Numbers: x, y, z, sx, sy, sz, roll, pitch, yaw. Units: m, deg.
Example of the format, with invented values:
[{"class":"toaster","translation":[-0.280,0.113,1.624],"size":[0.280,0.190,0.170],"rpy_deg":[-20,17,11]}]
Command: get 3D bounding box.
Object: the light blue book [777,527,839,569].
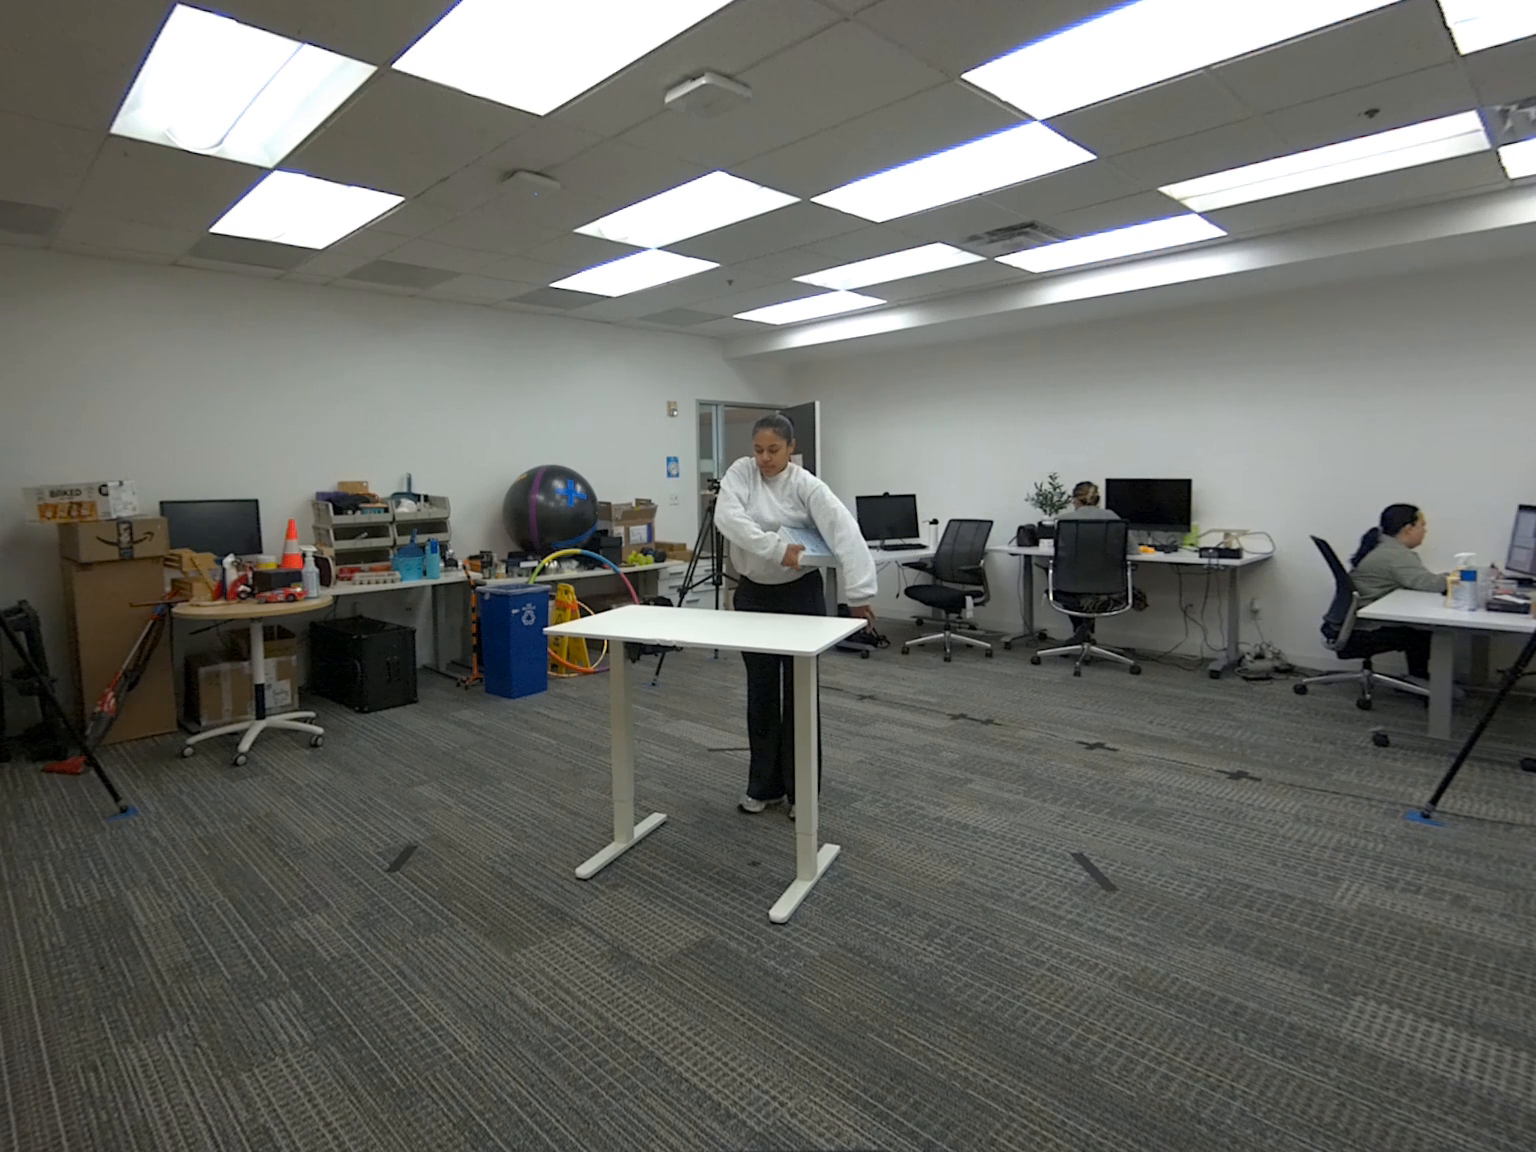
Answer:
[{"class":"light blue book","translation":[0.168,-0.110,3.418],"size":[0.255,0.058,0.198],"rpy_deg":[6,33,-22]}]
